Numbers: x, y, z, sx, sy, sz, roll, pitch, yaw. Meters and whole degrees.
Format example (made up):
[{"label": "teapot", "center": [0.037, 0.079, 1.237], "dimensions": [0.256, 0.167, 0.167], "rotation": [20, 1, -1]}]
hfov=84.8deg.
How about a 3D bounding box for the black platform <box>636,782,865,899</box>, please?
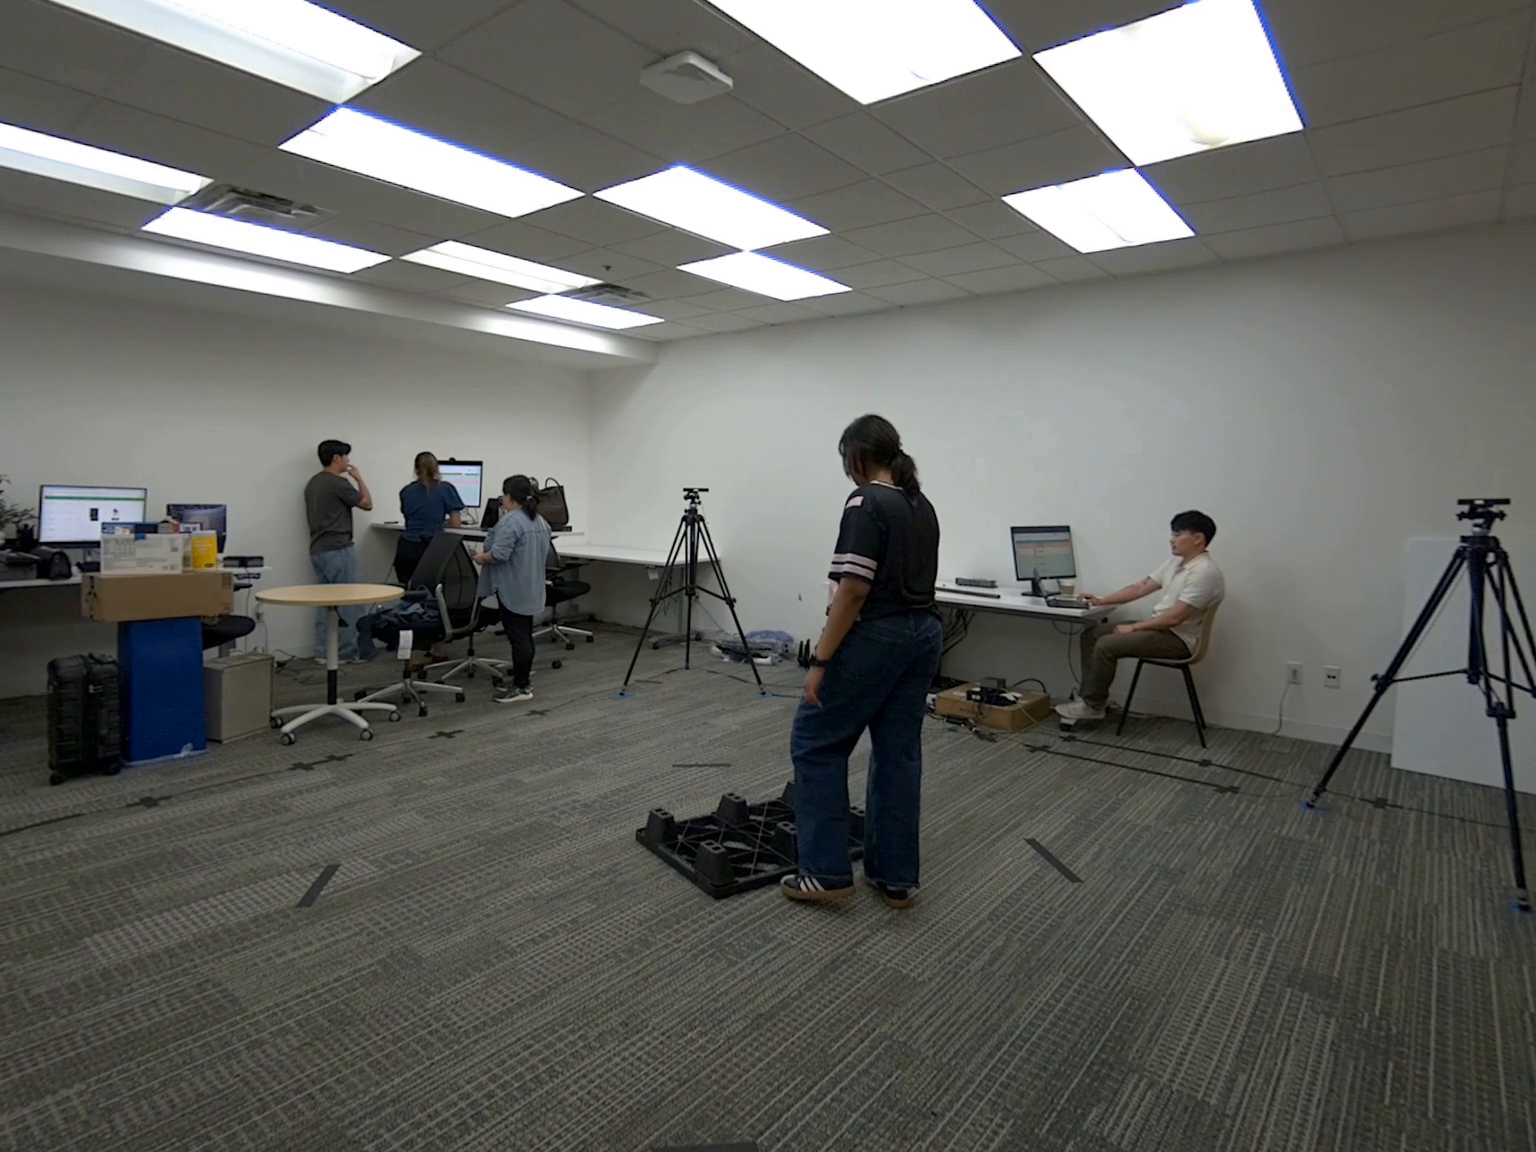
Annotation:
[{"label": "black platform", "center": [-0.045, 0.986, 3.323], "dimensions": [0.782, 0.143, 0.625], "rotation": [-3, 6, -35]}]
